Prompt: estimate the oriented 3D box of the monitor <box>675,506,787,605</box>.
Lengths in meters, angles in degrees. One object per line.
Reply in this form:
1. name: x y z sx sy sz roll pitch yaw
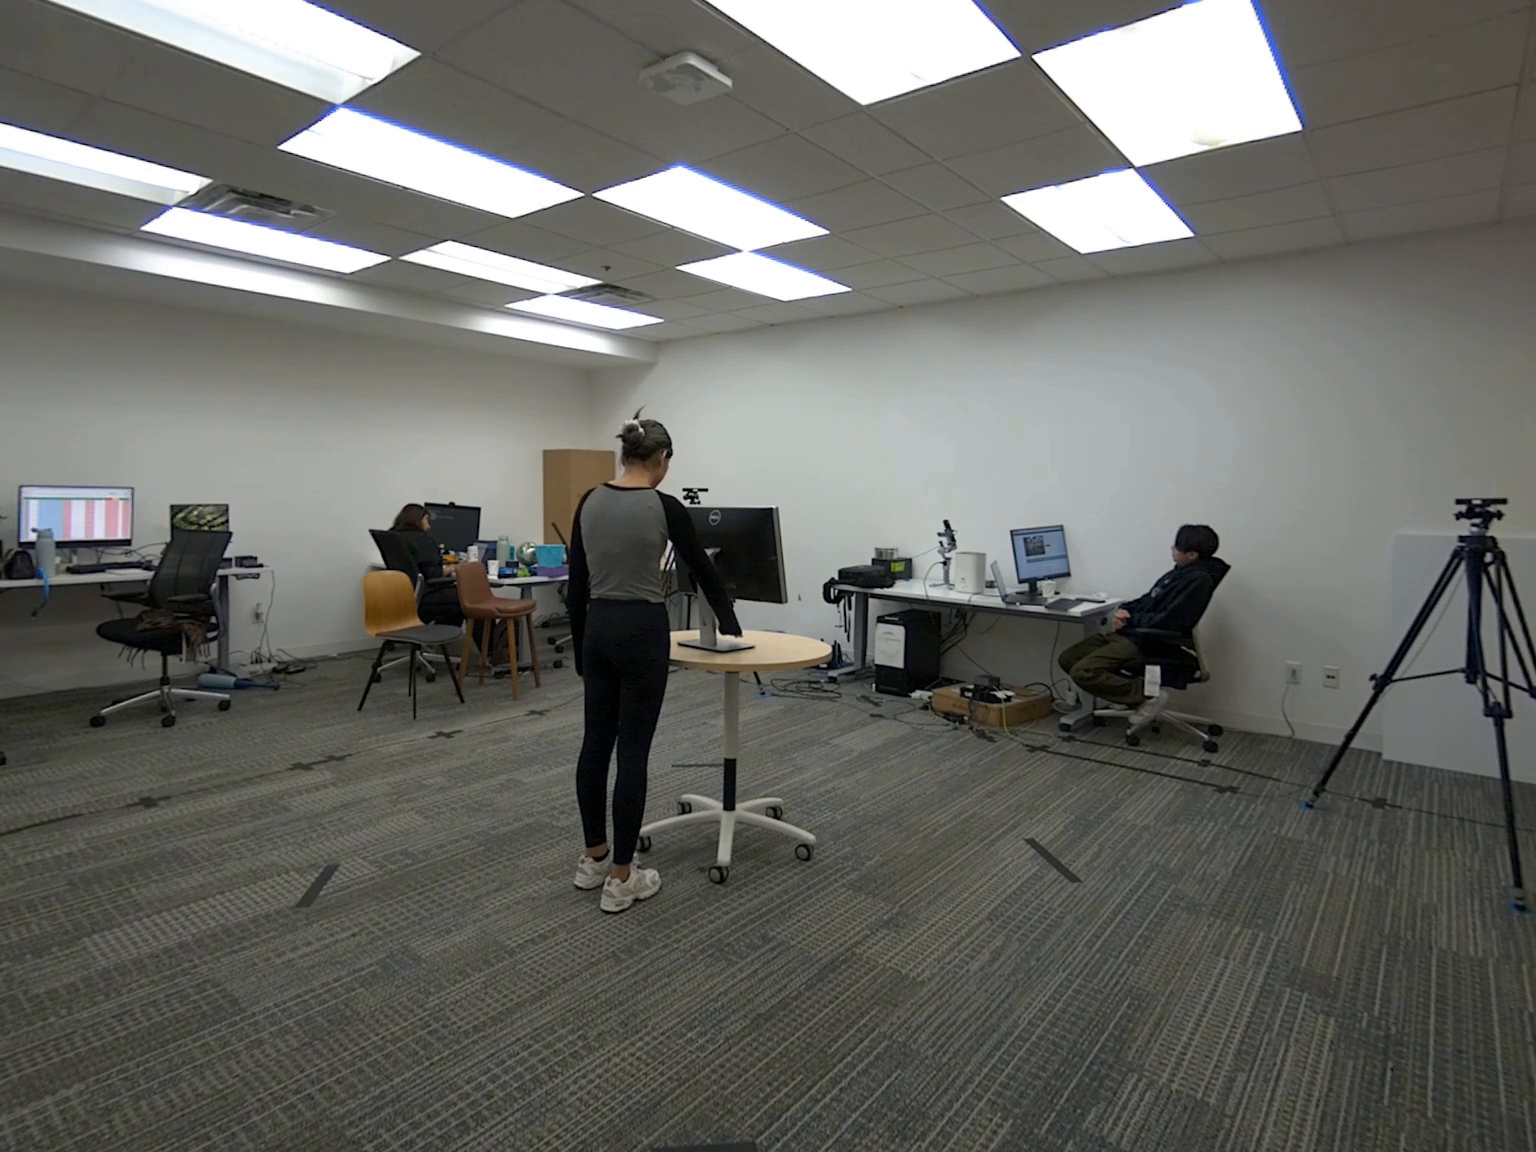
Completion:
1. monitor: -0.200 0.000 3.247 0.557 0.522 0.181 4 2 40
